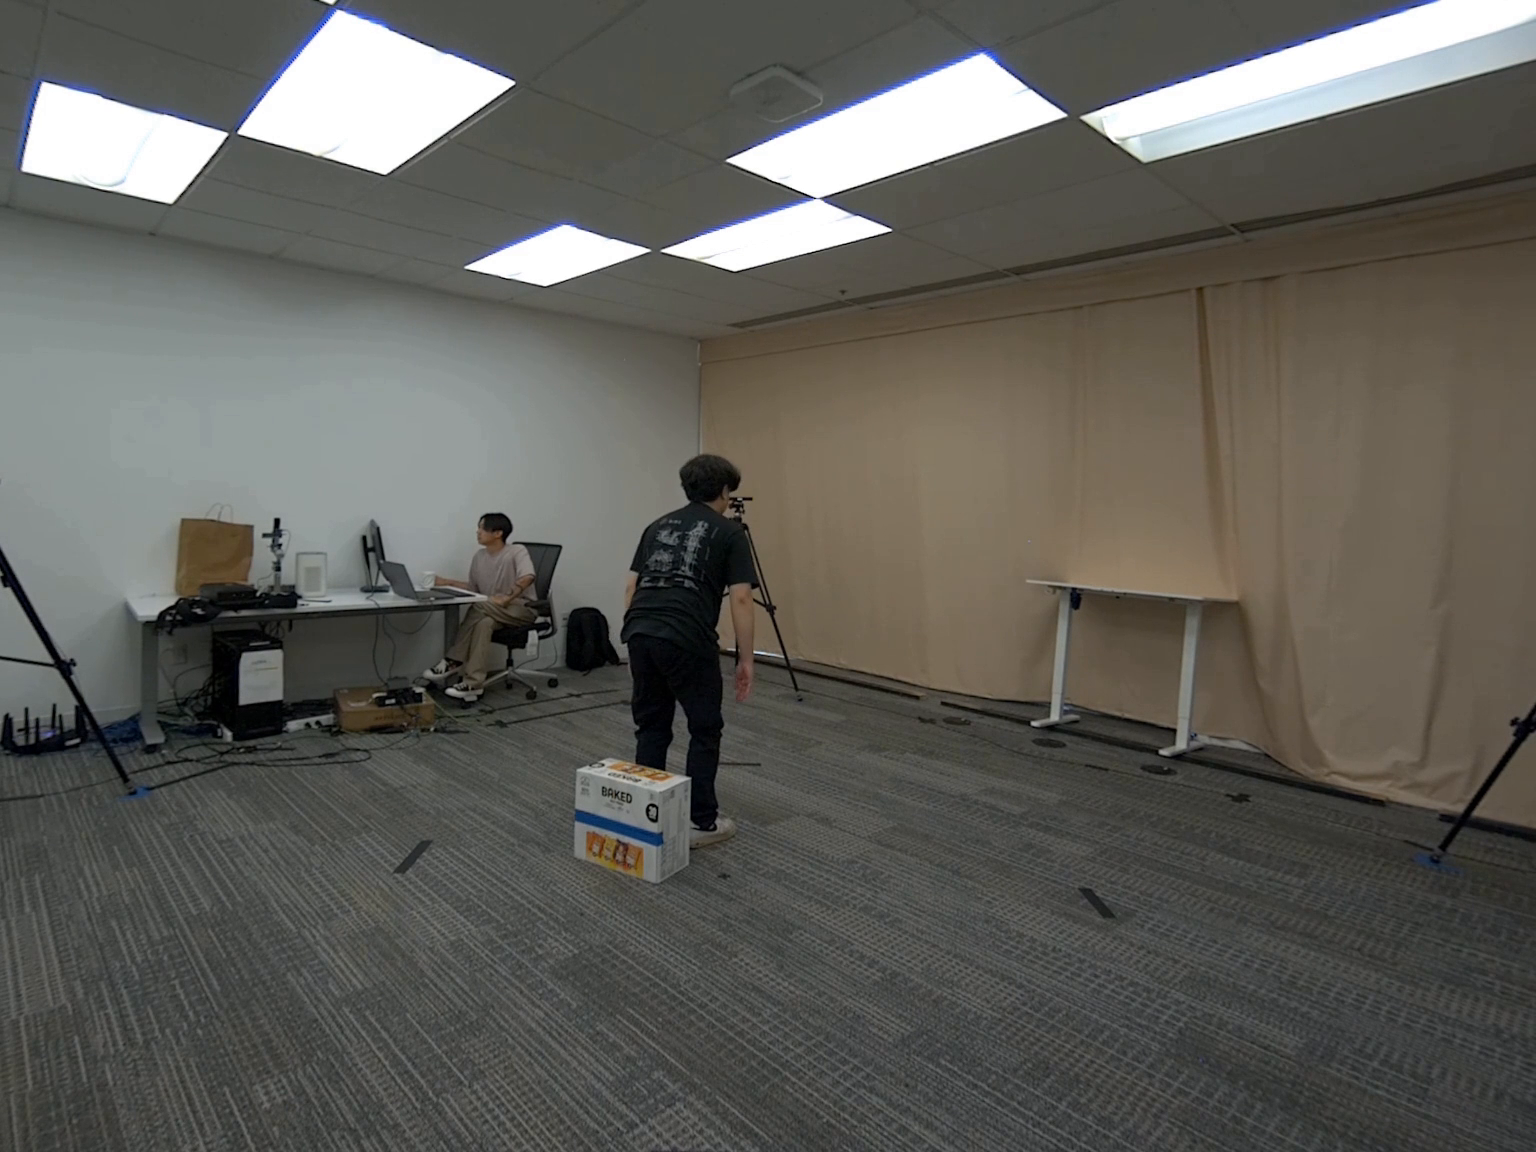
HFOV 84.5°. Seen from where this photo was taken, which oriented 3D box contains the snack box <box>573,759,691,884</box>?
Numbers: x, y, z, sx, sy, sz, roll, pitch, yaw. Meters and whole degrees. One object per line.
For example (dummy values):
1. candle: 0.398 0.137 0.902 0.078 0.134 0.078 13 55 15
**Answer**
1. snack box: -0.523 0.919 3.207 0.414 0.339 0.201 4 4 31
